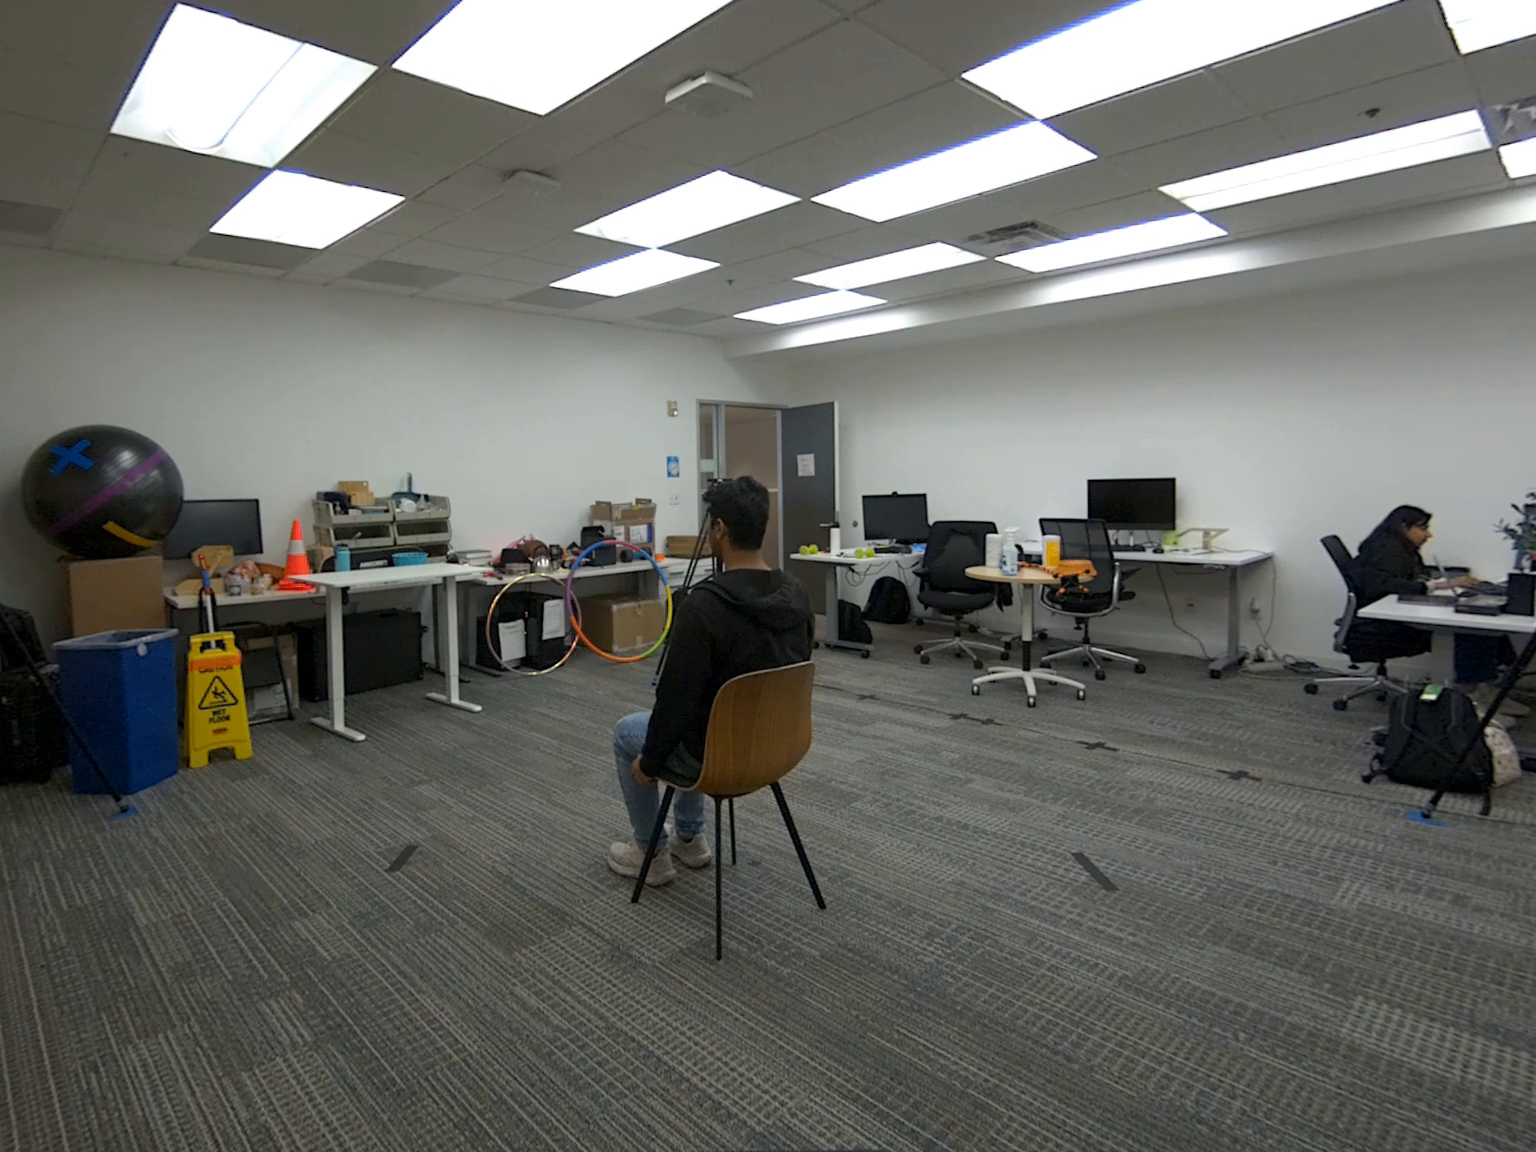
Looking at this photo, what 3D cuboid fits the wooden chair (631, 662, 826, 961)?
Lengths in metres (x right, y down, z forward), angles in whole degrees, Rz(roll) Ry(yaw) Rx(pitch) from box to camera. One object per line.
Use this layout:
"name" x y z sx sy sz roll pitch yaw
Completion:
"wooden chair" -0.146 0.655 2.774 0.465 0.871 0.541 -5 10 -41
